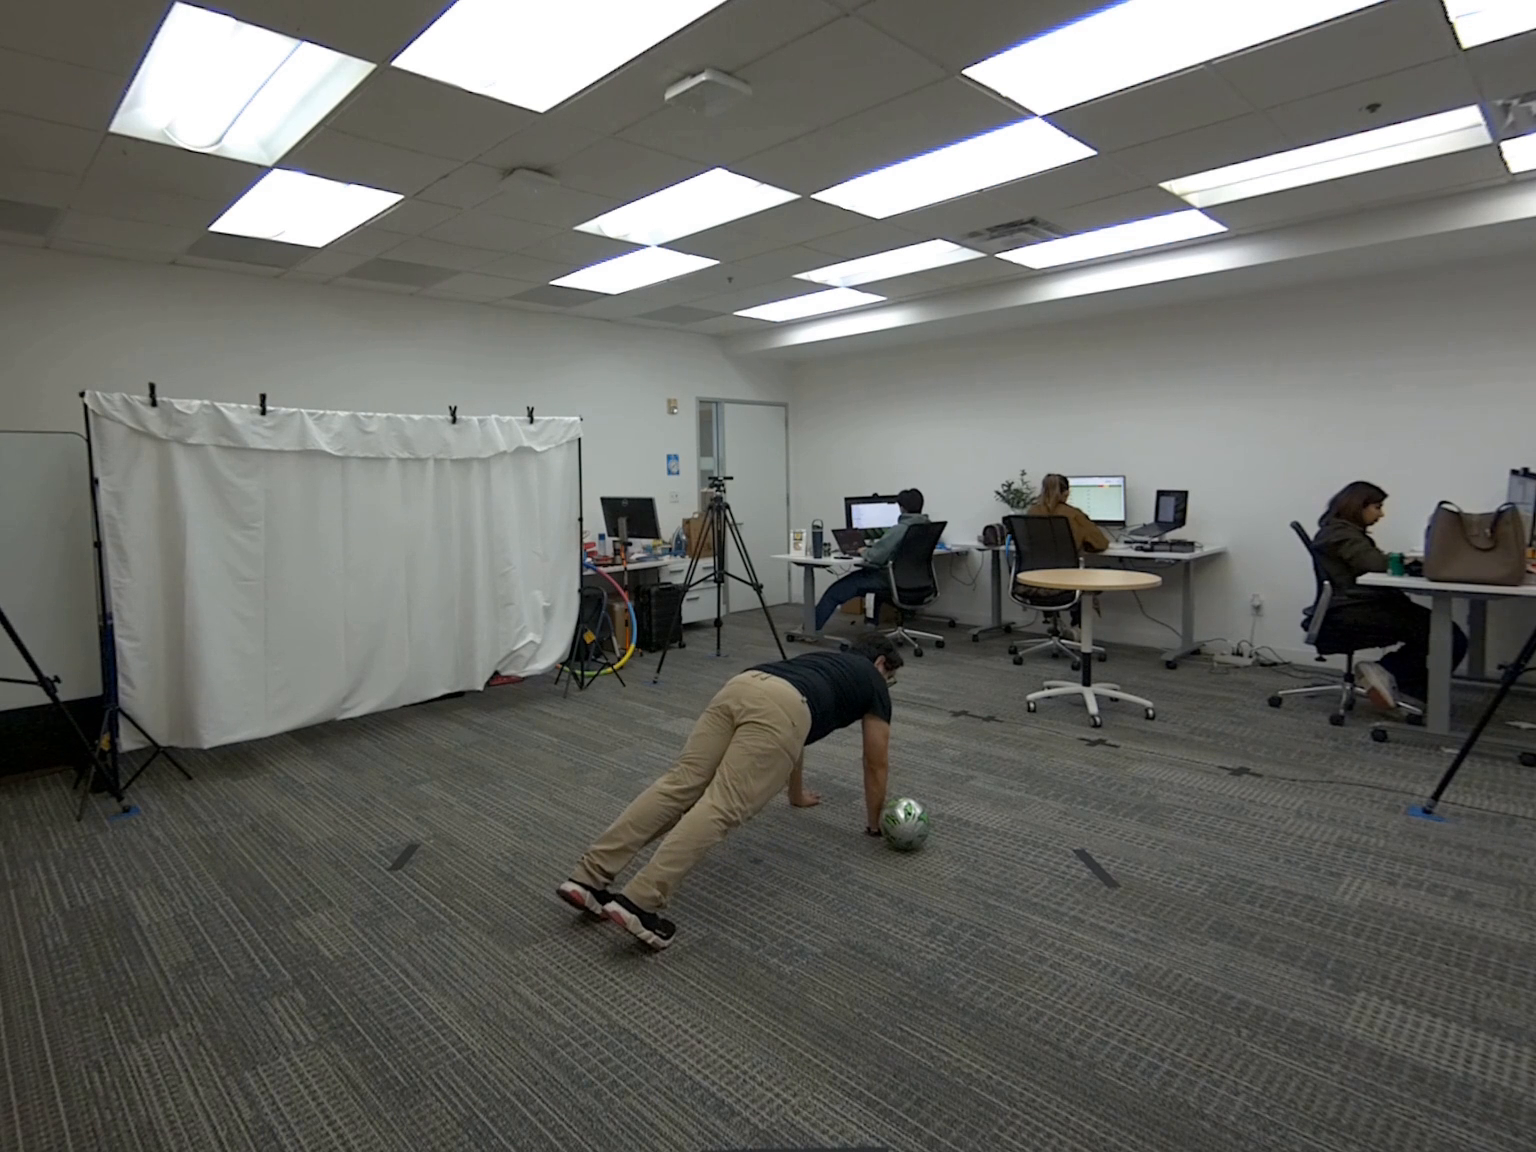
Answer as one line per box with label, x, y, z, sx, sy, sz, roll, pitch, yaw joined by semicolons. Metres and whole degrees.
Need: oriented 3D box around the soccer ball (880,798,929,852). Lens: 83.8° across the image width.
soccer ball;0.518;0.927;3.189;0.187;0.187;0.188;-1;5;-2
